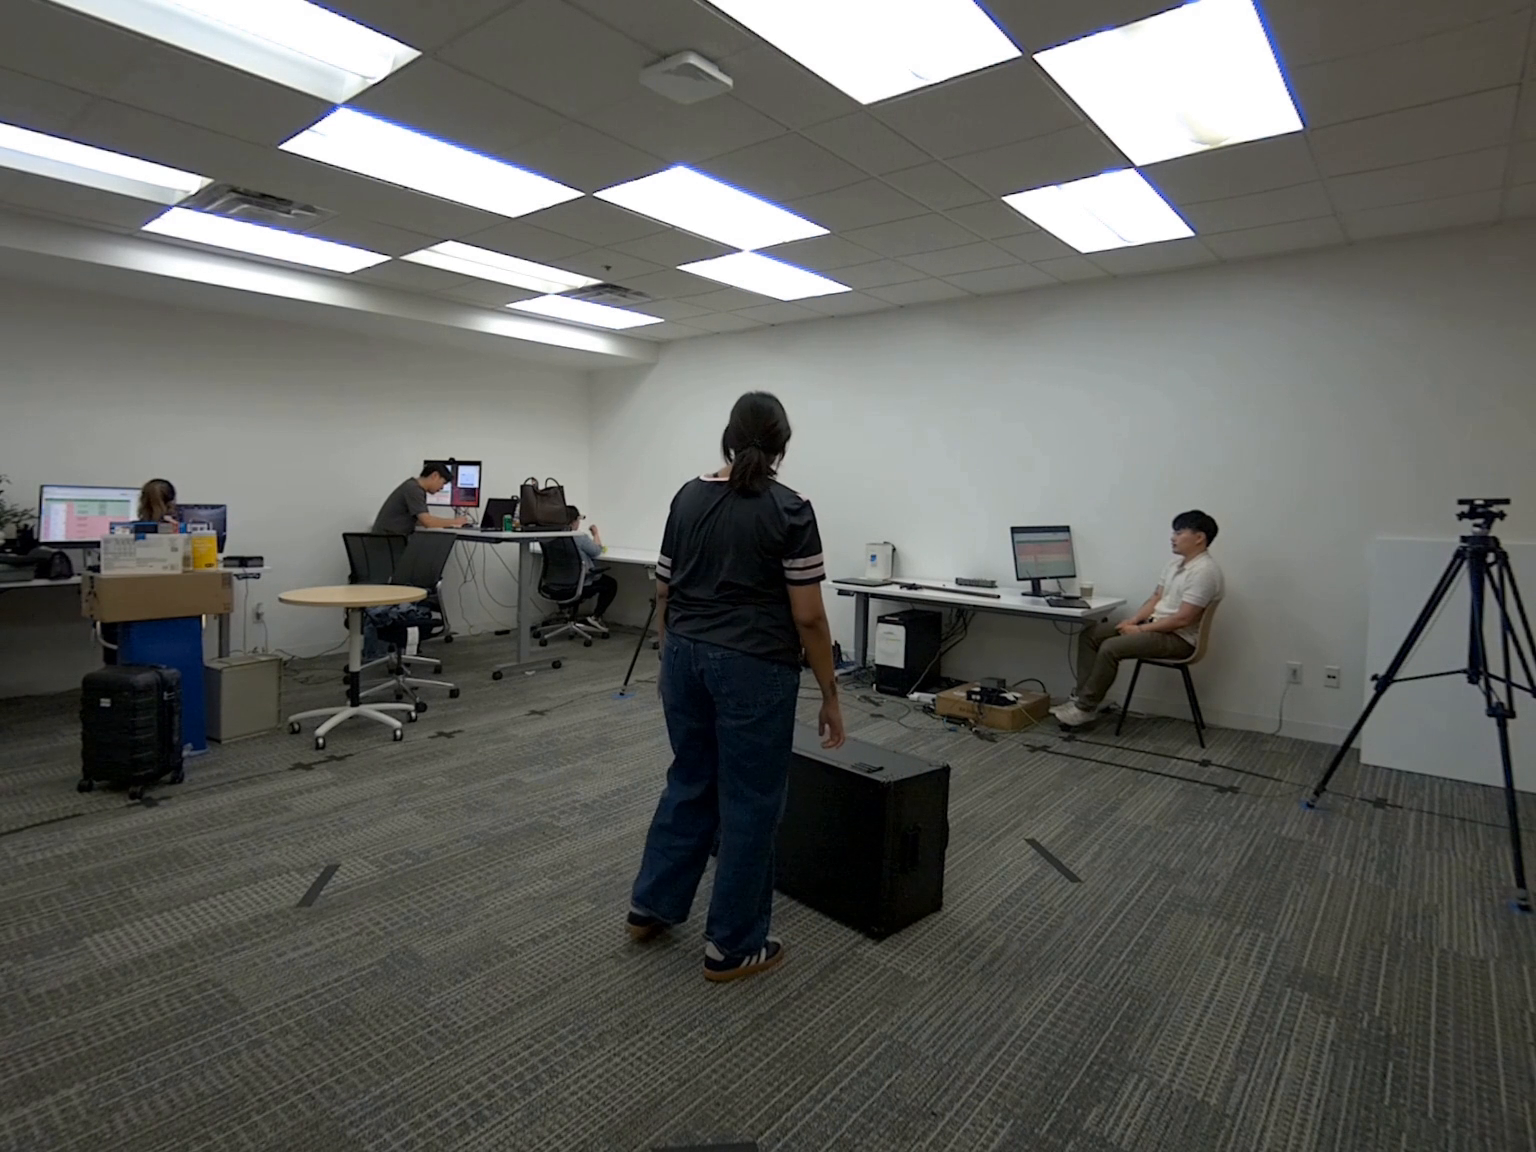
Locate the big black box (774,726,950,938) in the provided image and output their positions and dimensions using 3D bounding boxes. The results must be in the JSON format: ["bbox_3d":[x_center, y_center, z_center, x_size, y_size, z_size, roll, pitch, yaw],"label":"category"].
[{"bbox_3d":[0.171,0.827,3.052,0.373,0.522,0.899,-2,5,-44],"label":"big black box"}]
